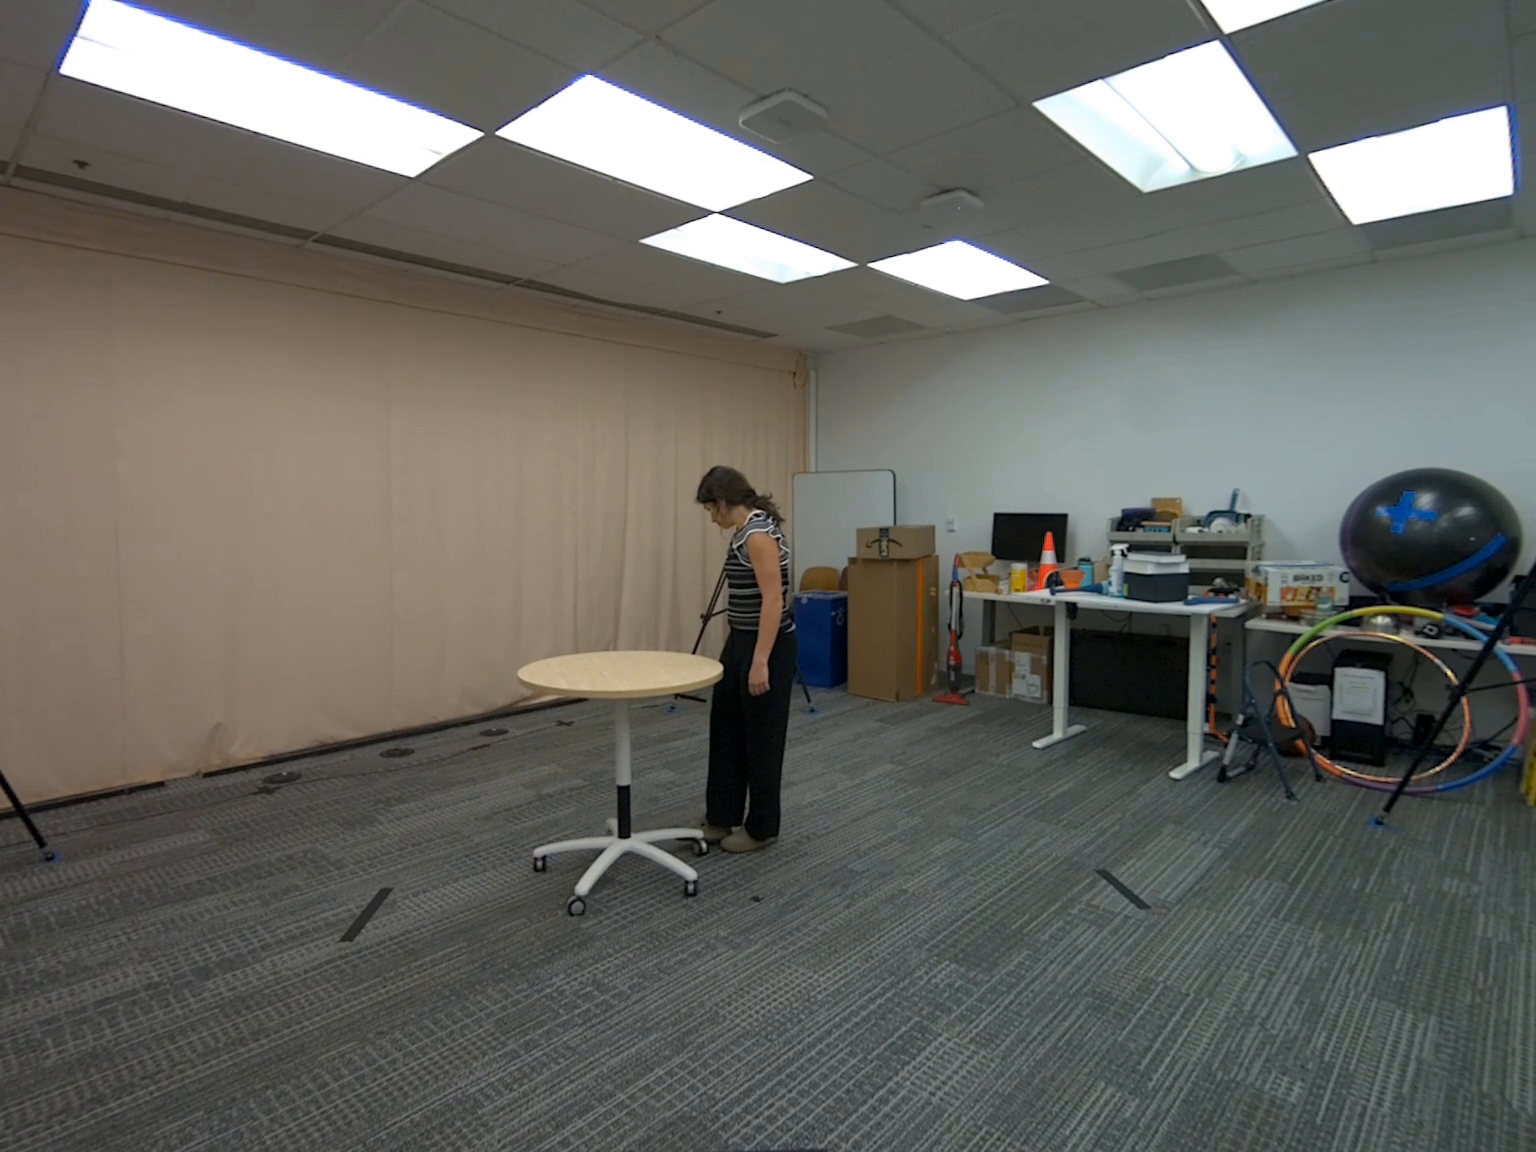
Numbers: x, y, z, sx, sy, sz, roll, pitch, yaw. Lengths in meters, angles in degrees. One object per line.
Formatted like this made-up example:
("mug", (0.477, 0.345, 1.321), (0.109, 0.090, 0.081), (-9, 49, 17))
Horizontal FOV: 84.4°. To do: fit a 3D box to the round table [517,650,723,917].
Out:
("round table", (-0.561, 0.738, 3.185), (0.784, 0.785, 0.788), (-1, 4, -2))
